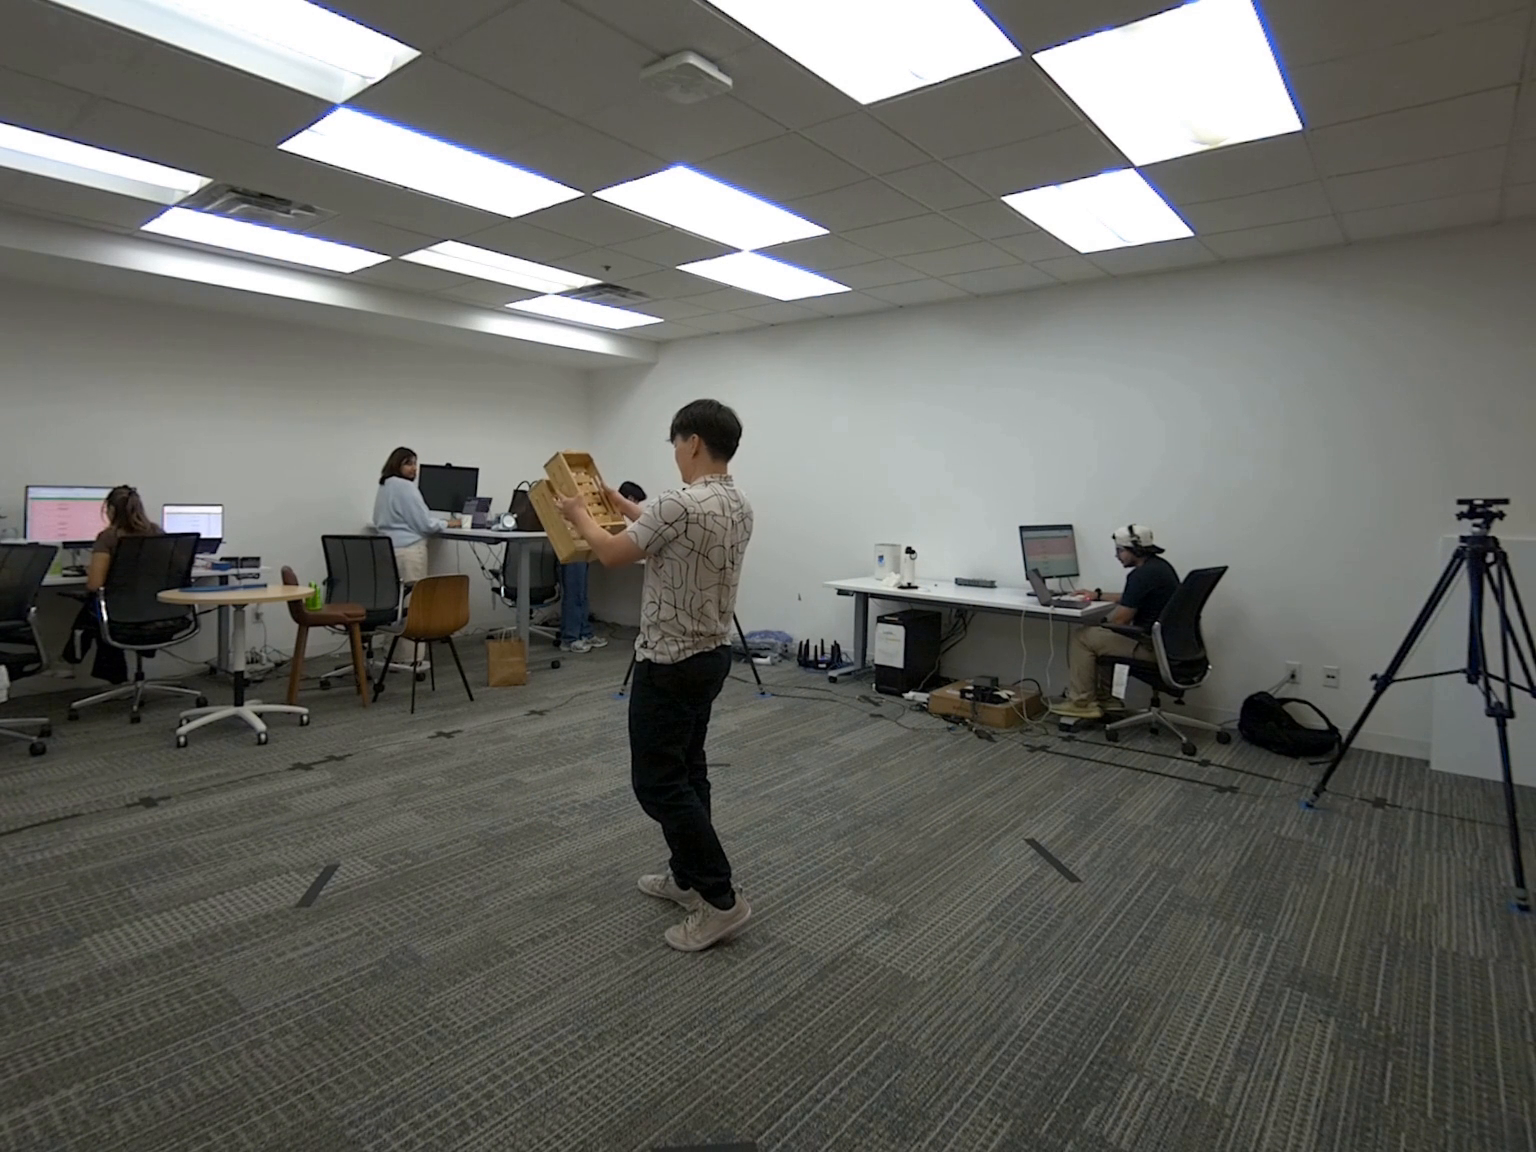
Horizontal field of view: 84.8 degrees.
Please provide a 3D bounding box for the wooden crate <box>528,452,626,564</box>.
[{"bbox_3d":[-0.661,-0.251,3.041,0.275,0.331,0.294,-37,-15,30],"label":"wooden crate"}]
